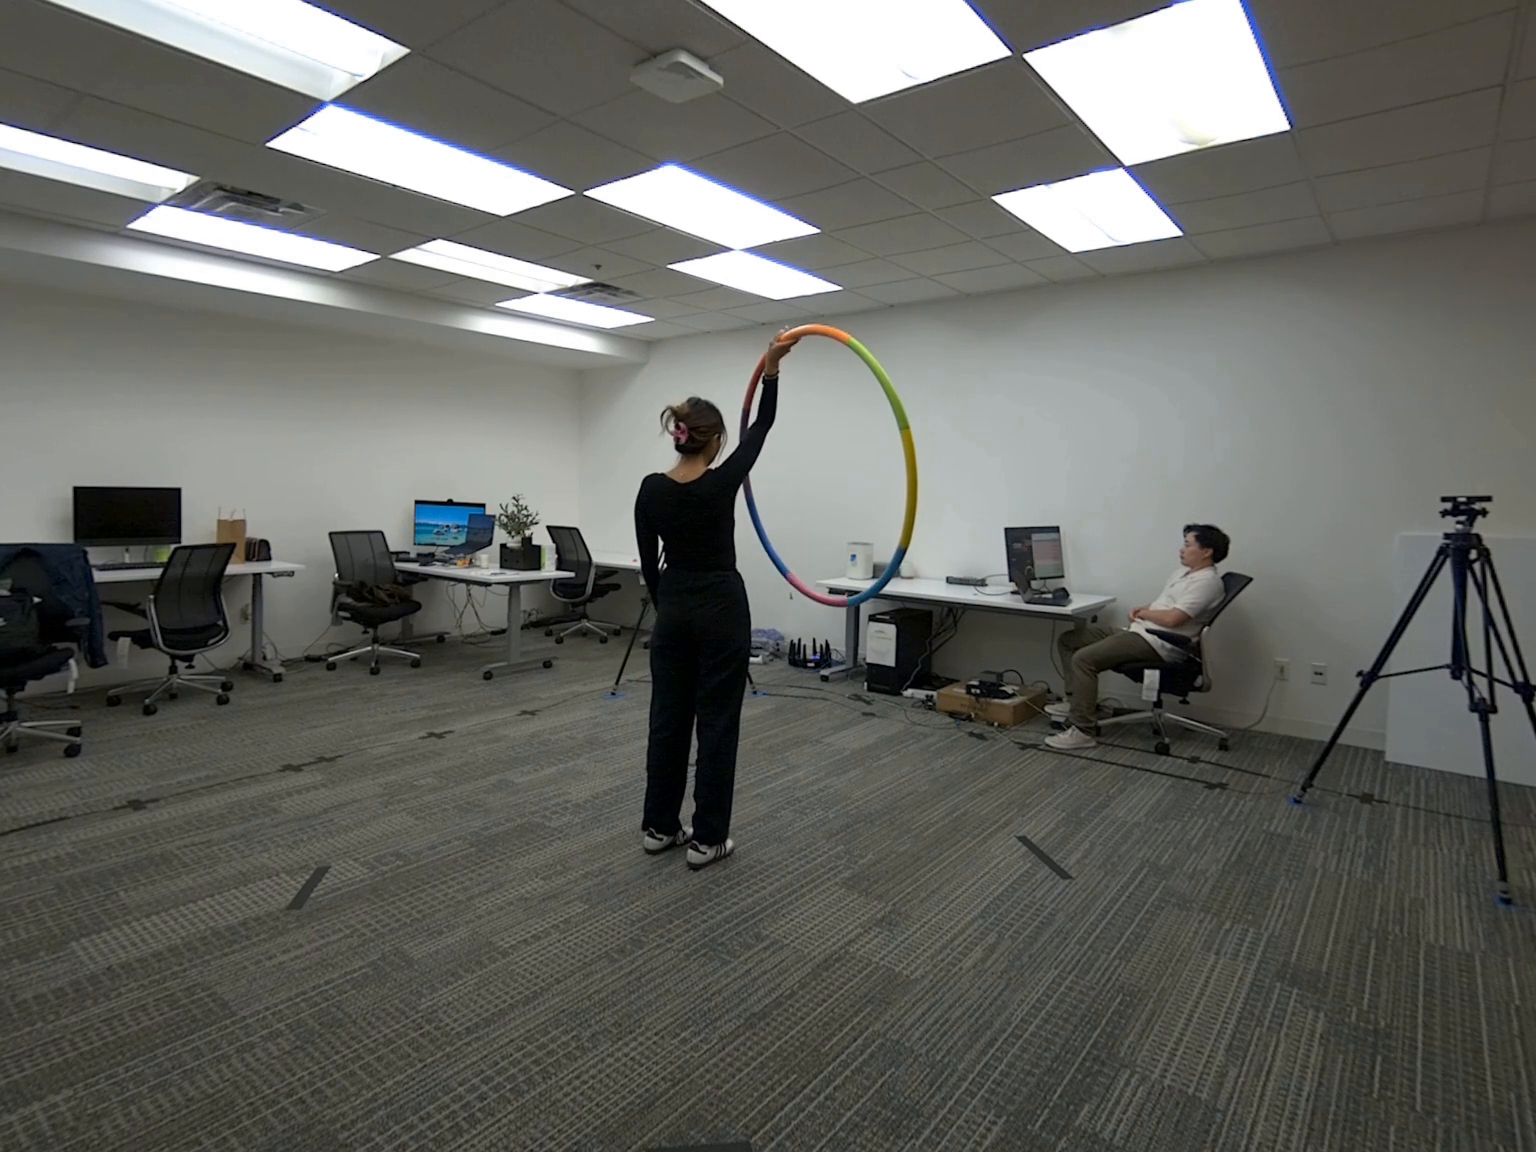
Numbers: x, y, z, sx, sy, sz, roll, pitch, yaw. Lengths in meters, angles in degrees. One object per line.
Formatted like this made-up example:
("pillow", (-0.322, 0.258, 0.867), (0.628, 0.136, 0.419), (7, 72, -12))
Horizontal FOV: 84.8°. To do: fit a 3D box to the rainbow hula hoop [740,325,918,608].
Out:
("rainbow hula hoop", (0.156, -0.390, 3.010), (0.050, 0.978, 1.017), (-10, 9, -33))
